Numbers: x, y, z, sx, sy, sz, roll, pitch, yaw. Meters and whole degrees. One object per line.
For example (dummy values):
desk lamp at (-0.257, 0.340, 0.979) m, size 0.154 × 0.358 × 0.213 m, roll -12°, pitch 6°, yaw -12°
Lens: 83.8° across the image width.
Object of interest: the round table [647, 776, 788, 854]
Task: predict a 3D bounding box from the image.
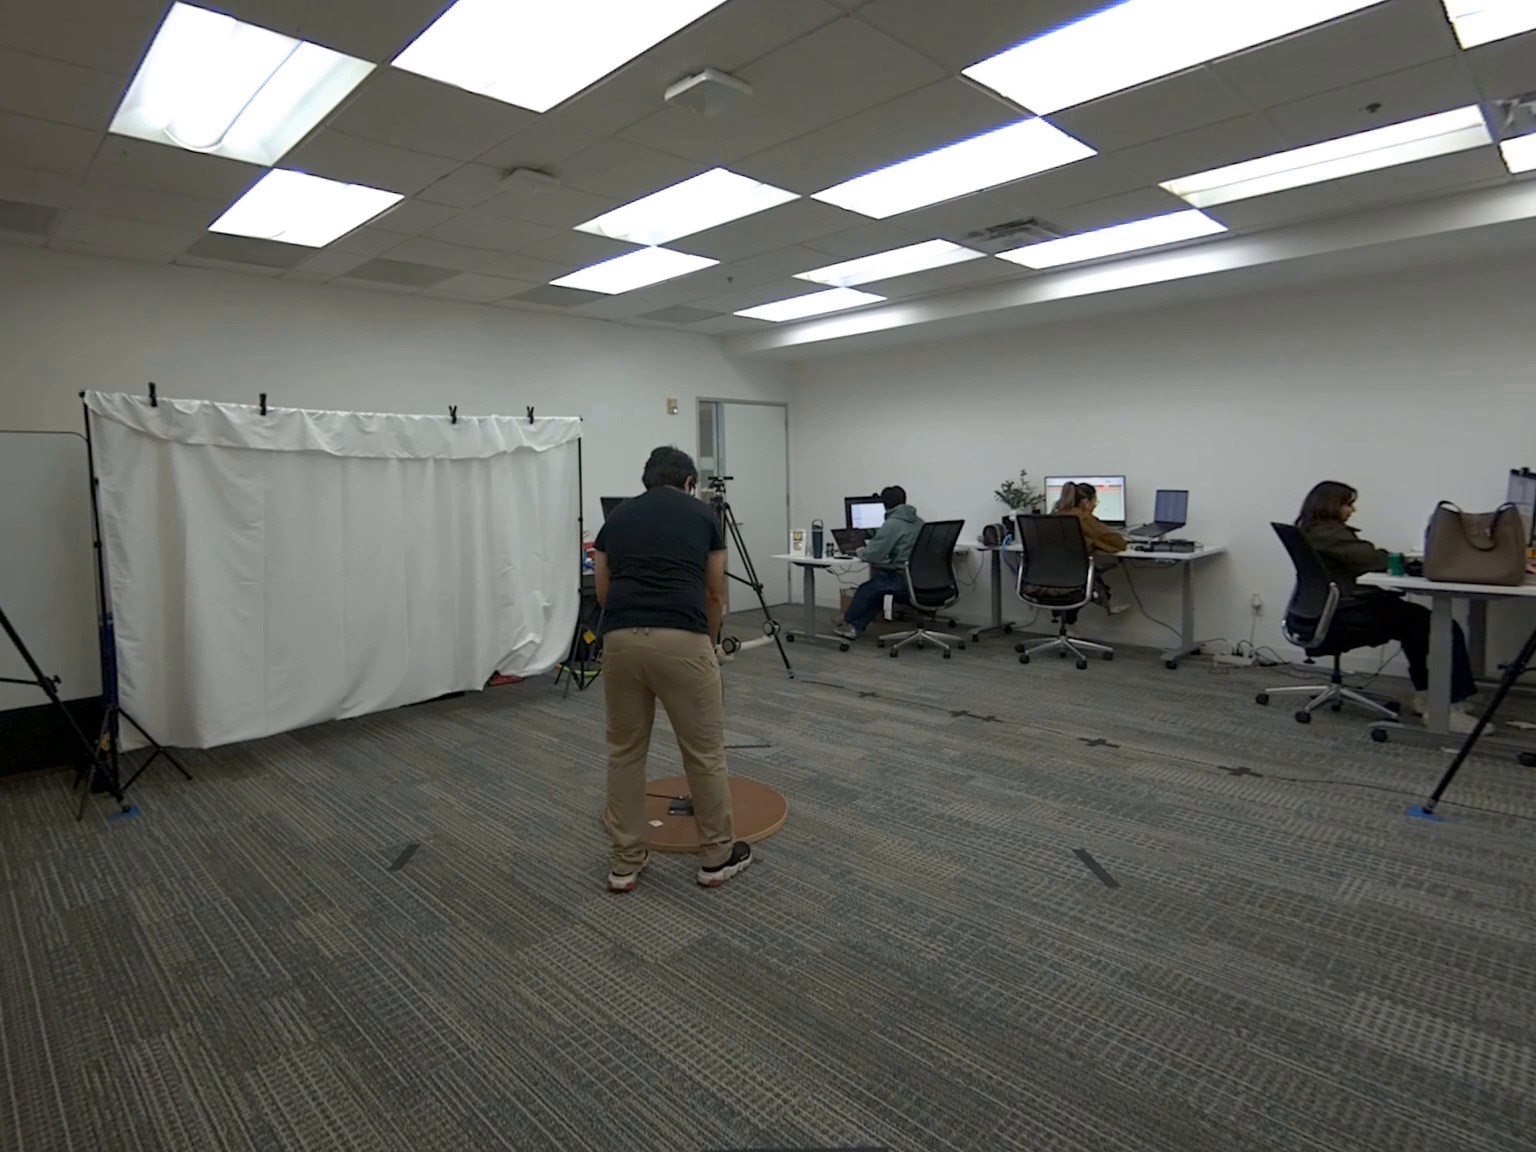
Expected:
round table at (-0.304, 0.593, 3.554) m, size 0.784 × 0.783 × 0.789 m, roll -1°, pitch 5°, yaw -2°
